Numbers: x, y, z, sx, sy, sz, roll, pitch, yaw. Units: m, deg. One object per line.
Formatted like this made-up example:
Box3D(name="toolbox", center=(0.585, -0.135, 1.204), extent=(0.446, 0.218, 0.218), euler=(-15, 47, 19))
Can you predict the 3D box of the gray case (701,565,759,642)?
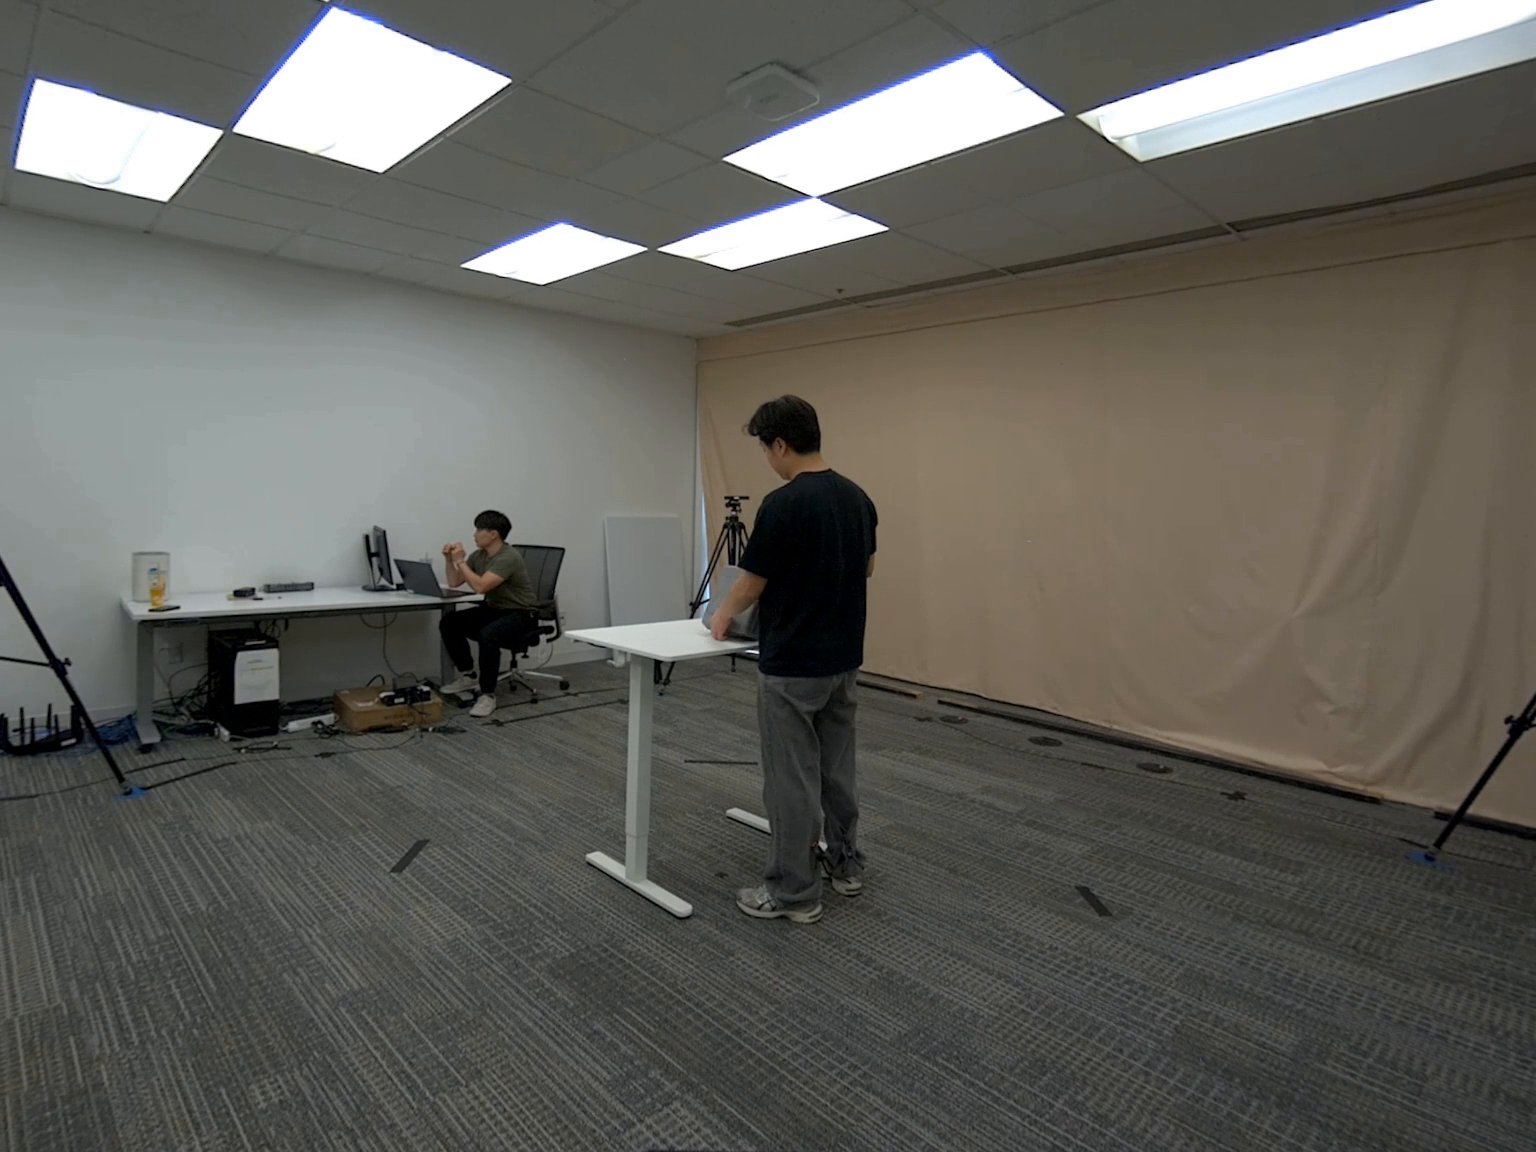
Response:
Box3D(name="gray case", center=(-0.100, 0.098, 3.095), extent=(0.263, 0.262, 0.101), euler=(6, -18, 47))
